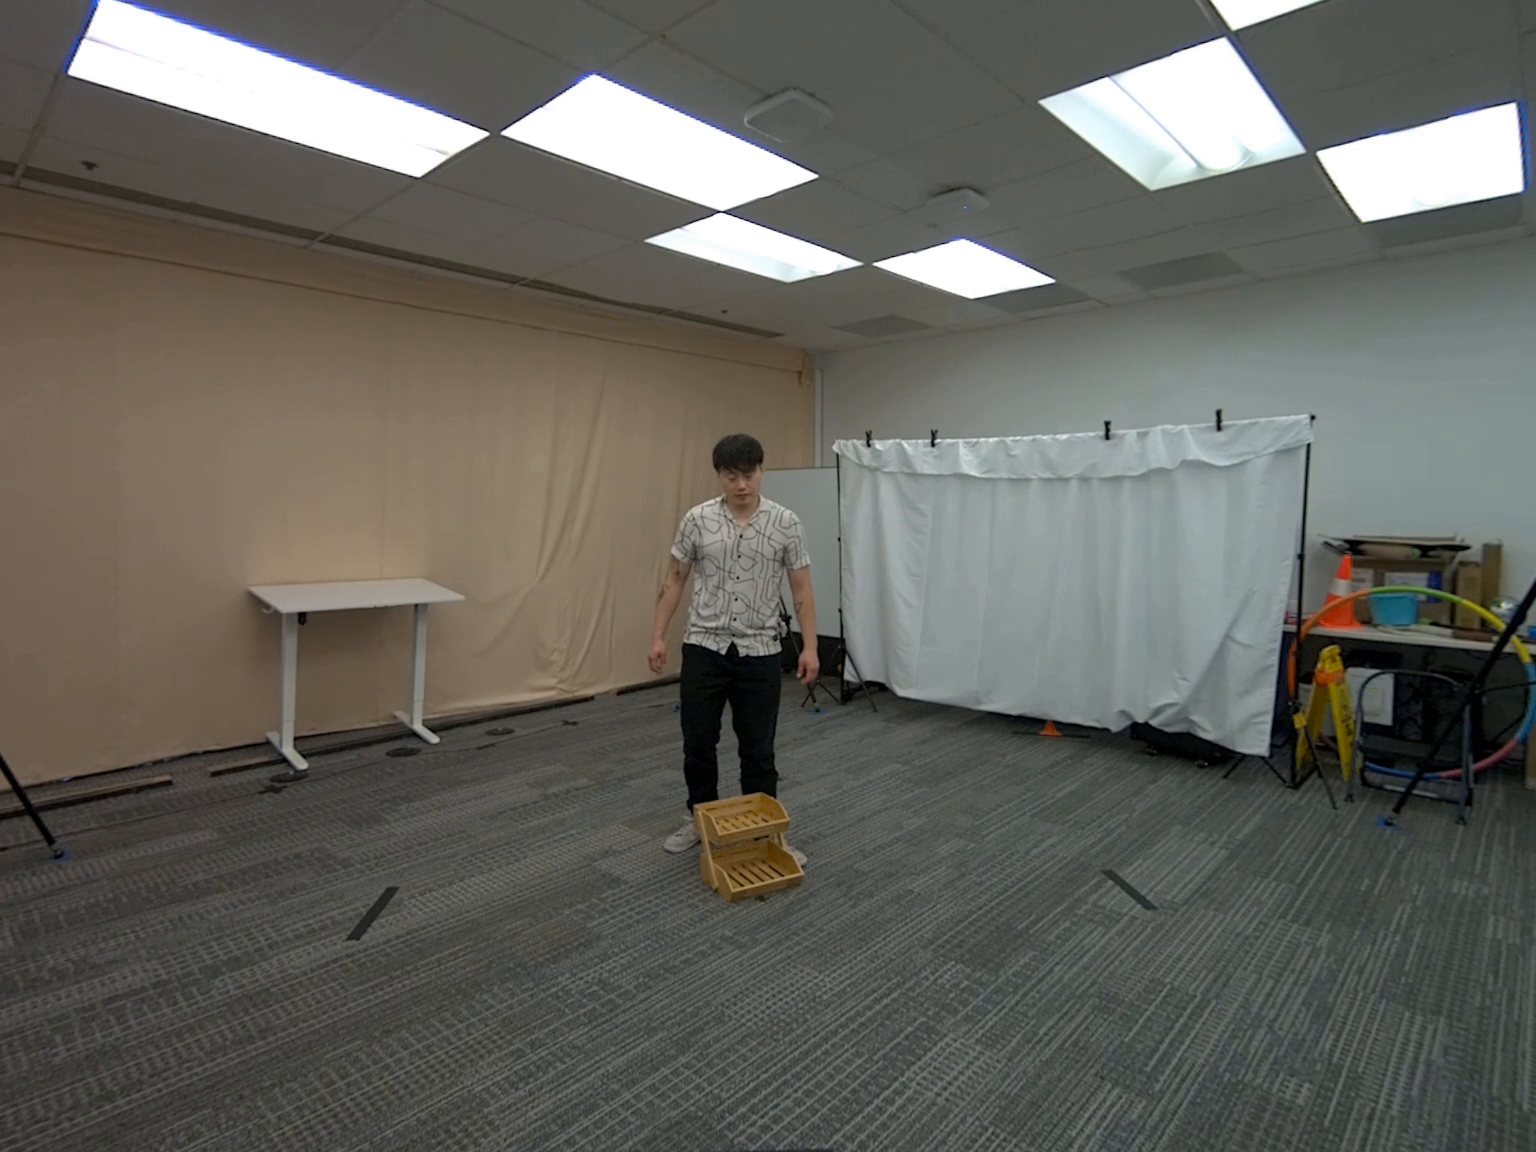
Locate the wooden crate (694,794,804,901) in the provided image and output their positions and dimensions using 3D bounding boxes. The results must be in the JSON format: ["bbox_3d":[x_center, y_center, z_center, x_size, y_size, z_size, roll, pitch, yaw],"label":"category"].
[{"bbox_3d":[-0.070,0.998,3.126,0.316,0.273,0.310,-3,3,-30],"label":"wooden crate"}]
